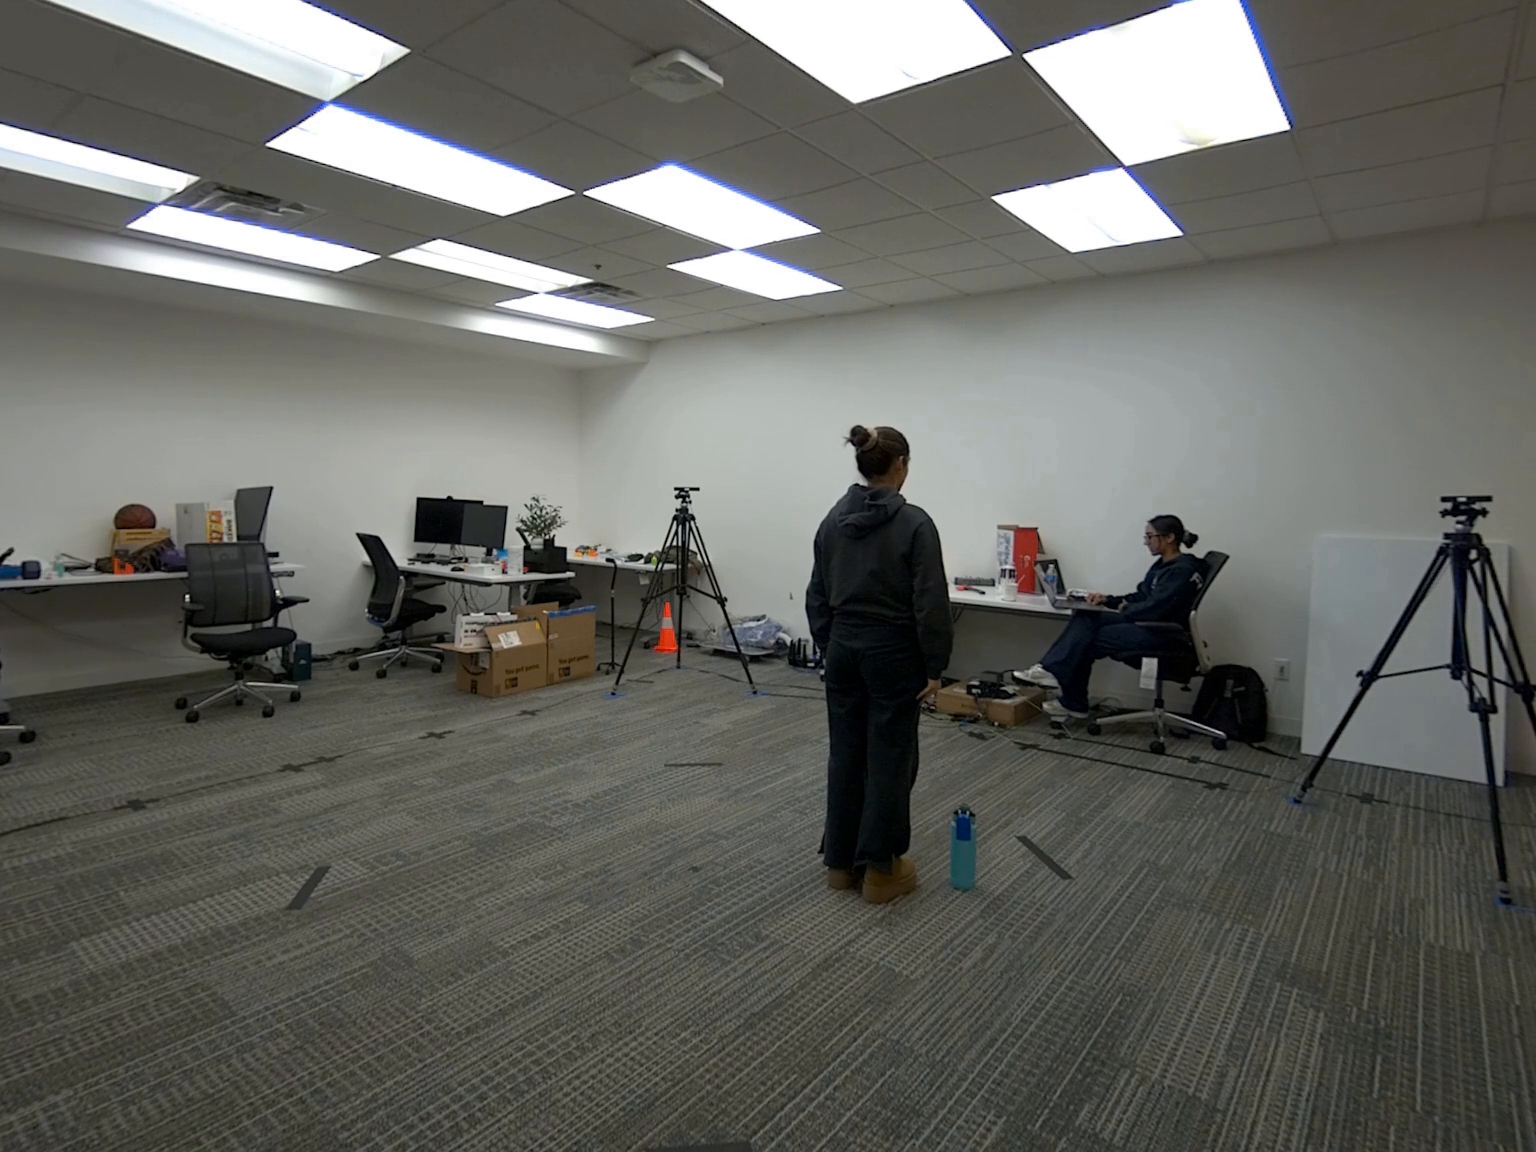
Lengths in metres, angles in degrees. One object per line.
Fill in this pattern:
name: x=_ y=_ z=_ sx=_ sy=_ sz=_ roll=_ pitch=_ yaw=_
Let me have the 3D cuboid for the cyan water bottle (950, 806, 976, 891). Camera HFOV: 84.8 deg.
cyan water bottle: x=0.701 y=0.954 z=3.020 sx=0.092 sy=0.282 sz=0.093 roll=0 pitch=6 yaw=-2
